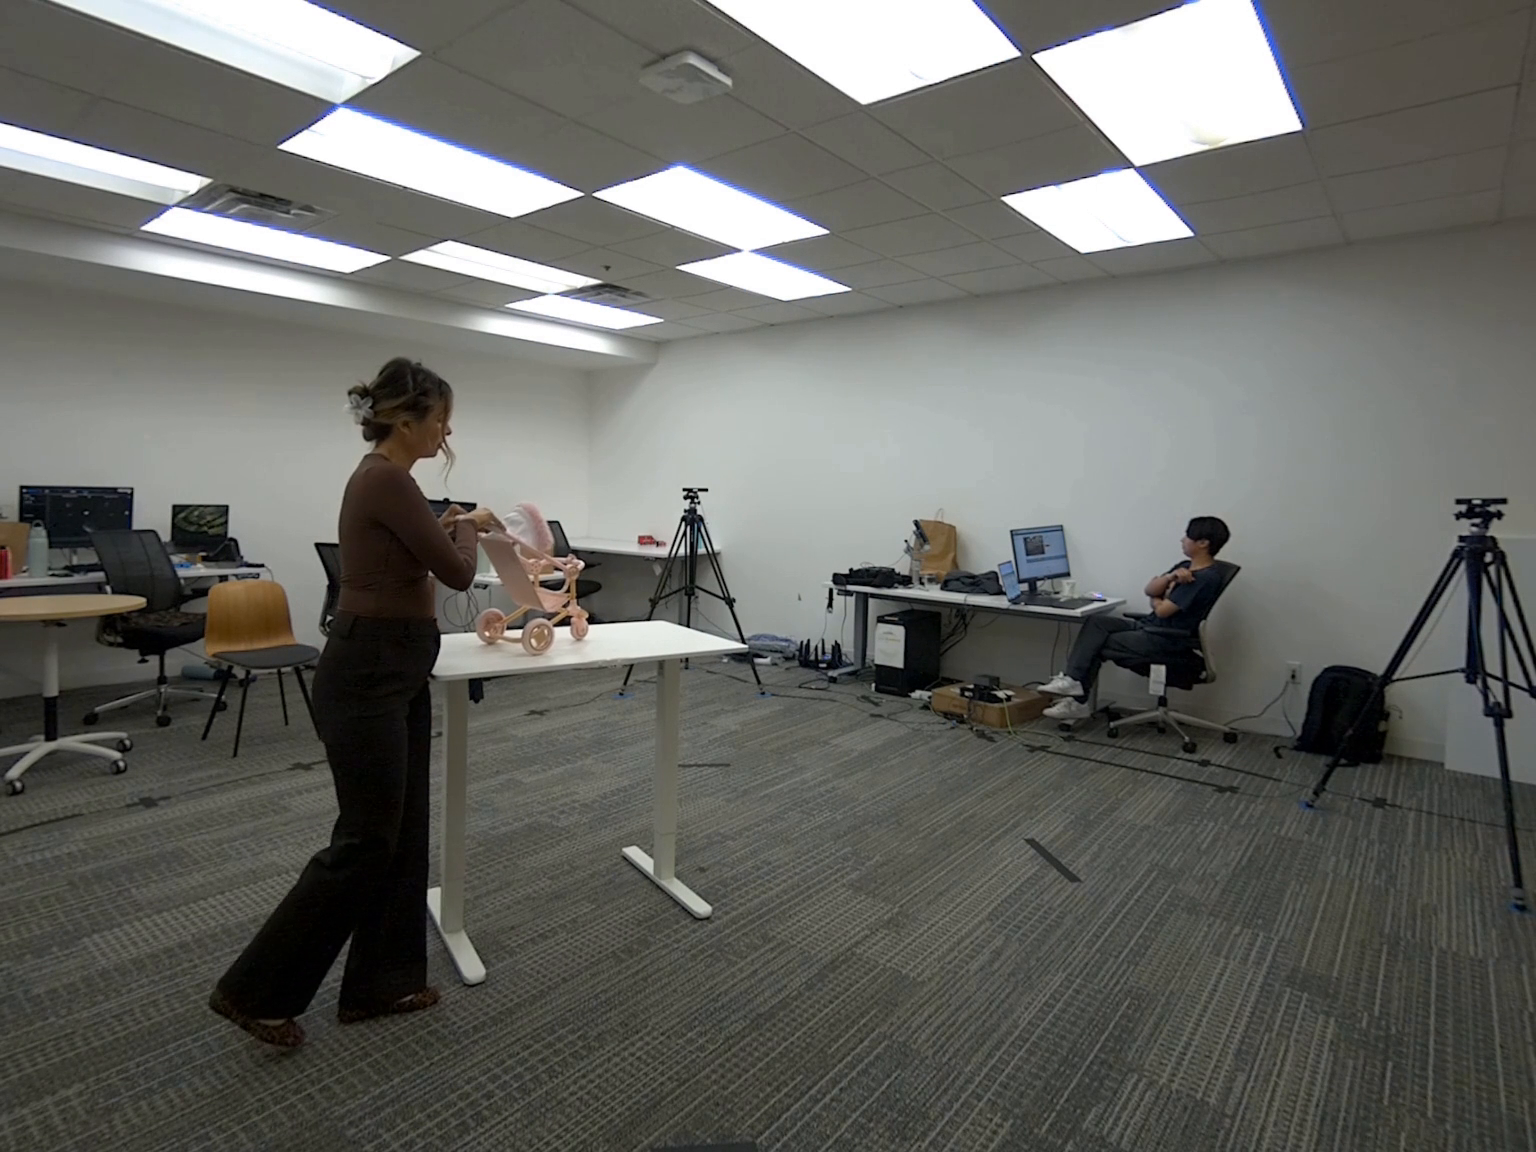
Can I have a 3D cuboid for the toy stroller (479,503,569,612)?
[{"bbox_3d":[-0.746,0.001,2.652,0.291,0.525,0.336,8,24,44],"label":"toy stroller"}]
